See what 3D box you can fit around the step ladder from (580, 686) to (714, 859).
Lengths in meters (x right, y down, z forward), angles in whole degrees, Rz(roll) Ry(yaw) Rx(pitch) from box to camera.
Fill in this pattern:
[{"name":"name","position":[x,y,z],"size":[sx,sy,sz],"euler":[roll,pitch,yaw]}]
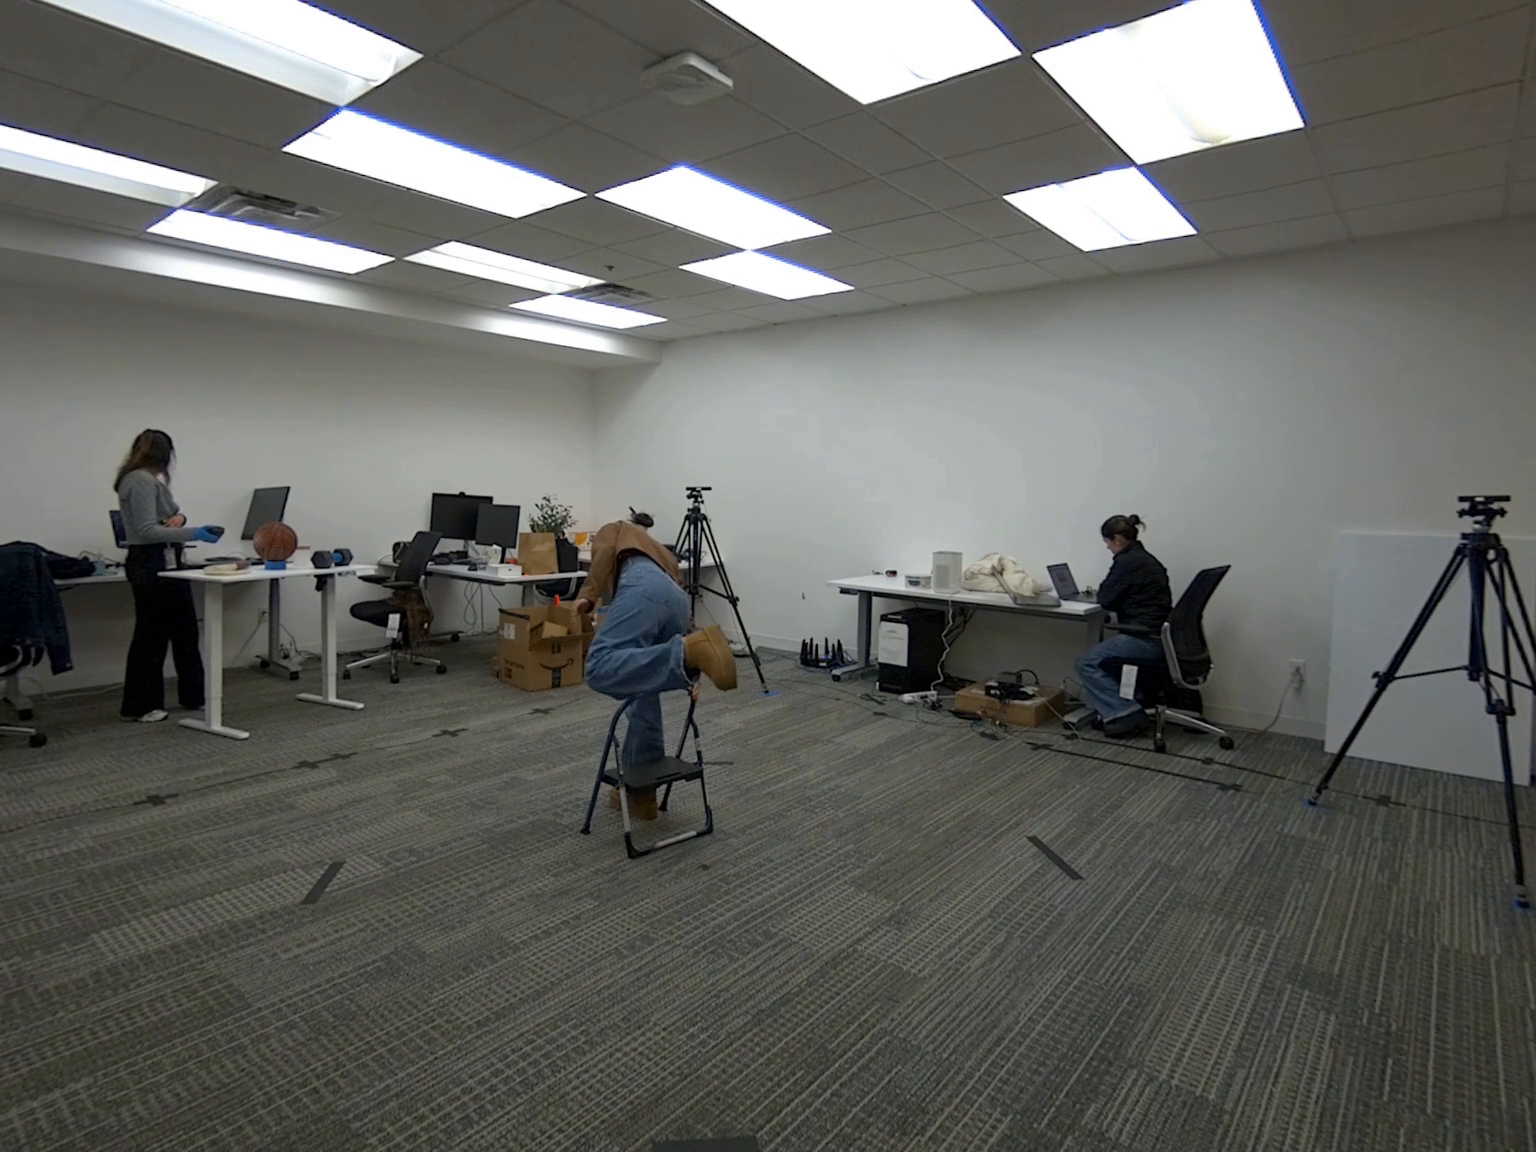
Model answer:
[{"name":"step ladder","position":[-0.490,0.729,3.412],"size":[0.417,0.604,0.361],"euler":[-2,5,-44]}]
